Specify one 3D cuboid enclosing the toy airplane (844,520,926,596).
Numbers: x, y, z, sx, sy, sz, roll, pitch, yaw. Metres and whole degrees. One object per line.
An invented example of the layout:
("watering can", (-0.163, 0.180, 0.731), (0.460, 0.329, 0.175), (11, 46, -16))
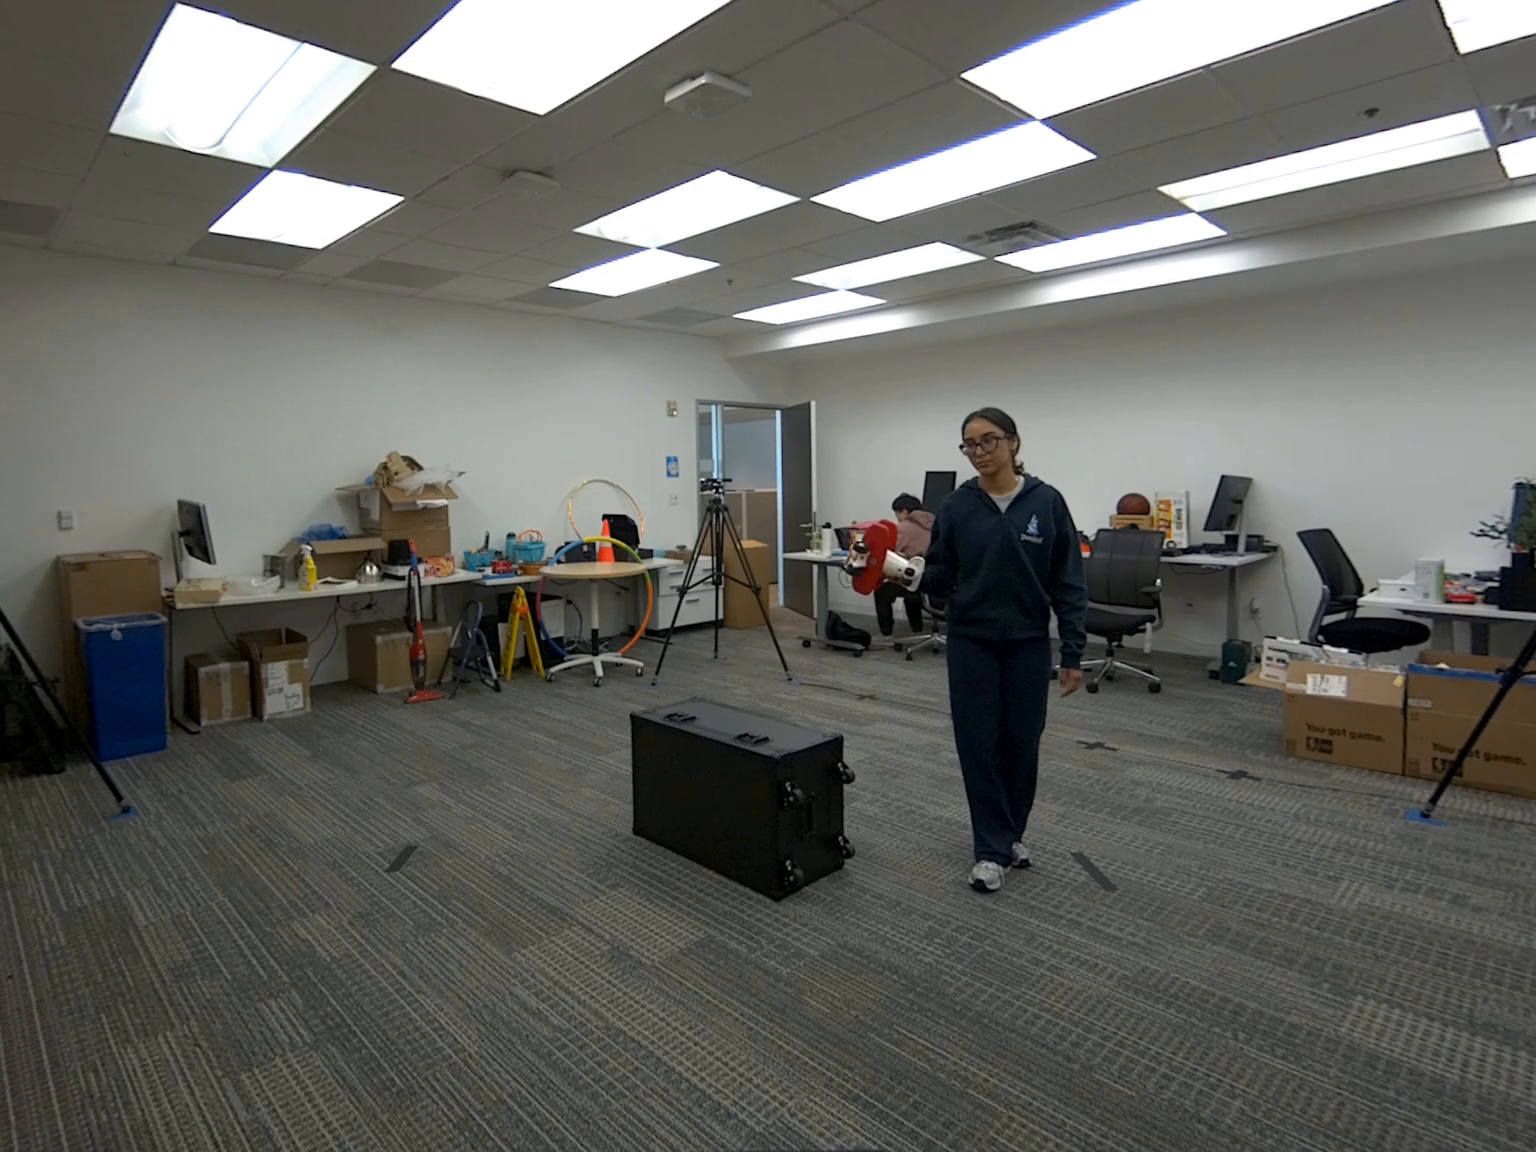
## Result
("toy airplane", (0.393, -0.031, 2.881), (0.251, 0.261, 0.155), (-46, -3, 26))
